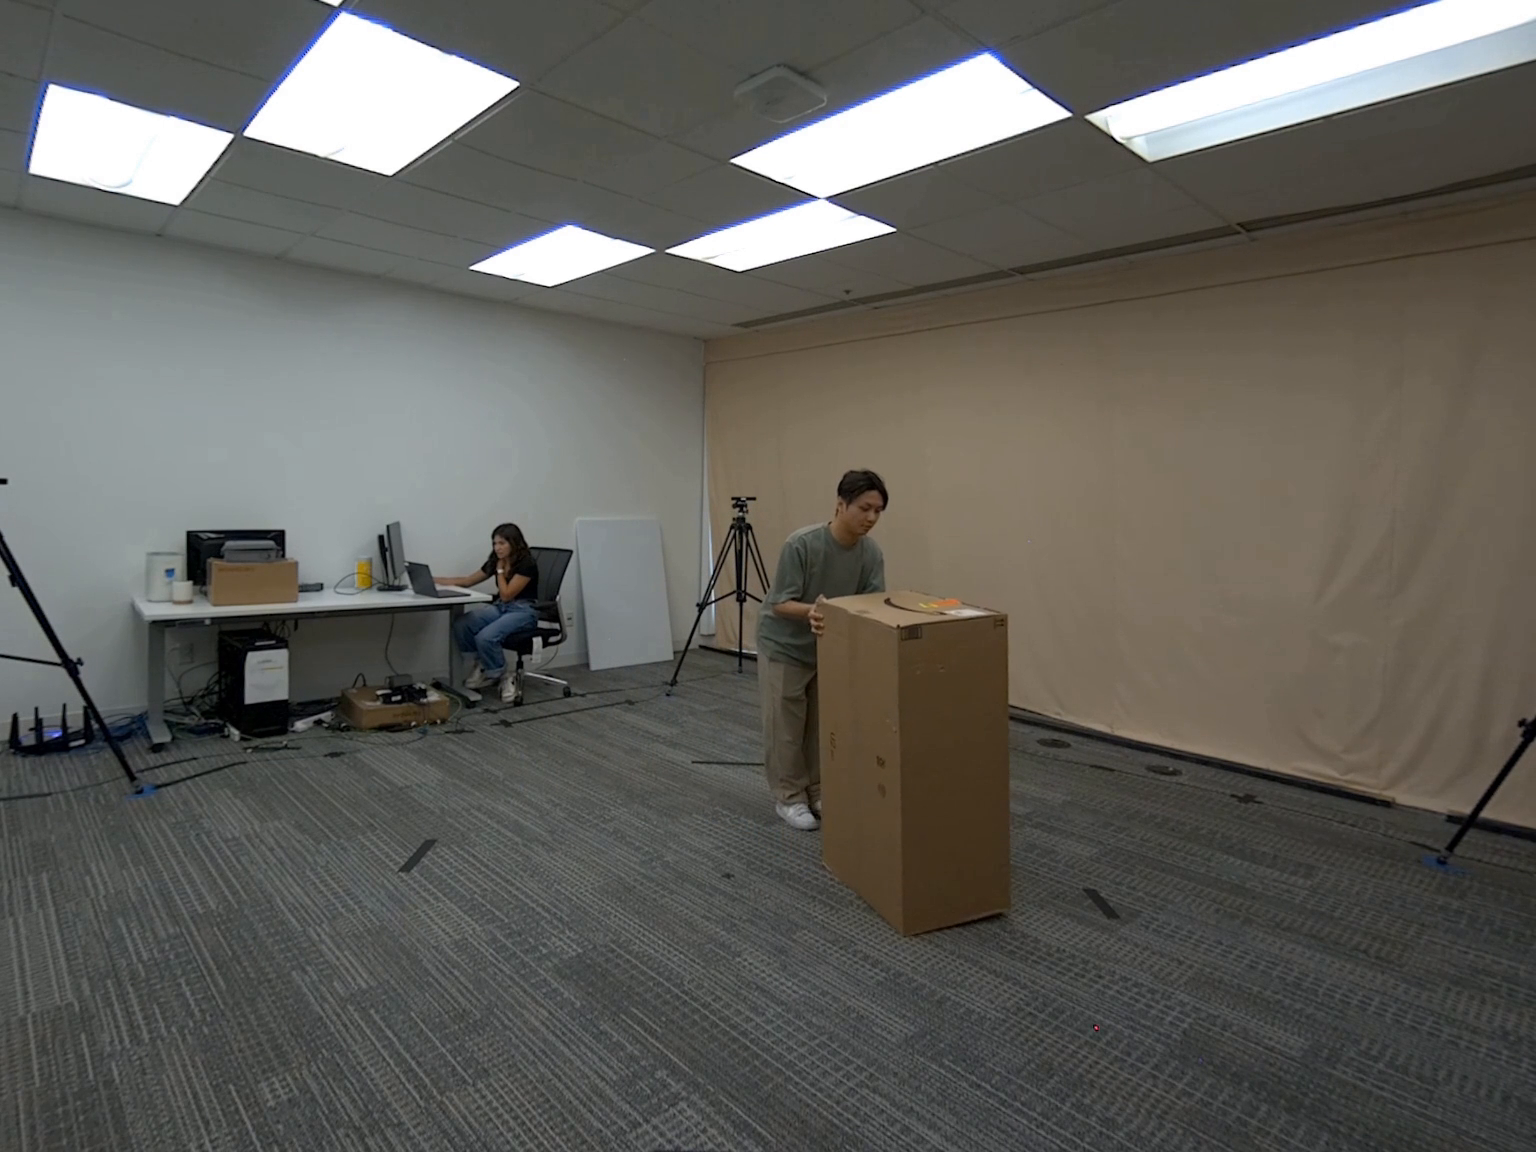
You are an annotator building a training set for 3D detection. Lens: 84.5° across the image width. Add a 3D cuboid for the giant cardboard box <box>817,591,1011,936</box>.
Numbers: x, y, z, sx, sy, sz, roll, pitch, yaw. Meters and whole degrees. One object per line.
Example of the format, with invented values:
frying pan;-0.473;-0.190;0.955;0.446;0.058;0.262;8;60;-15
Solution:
giant cardboard box;0.497;0.615;2.987;0.419;1.021;0.589;-4;6;-23
